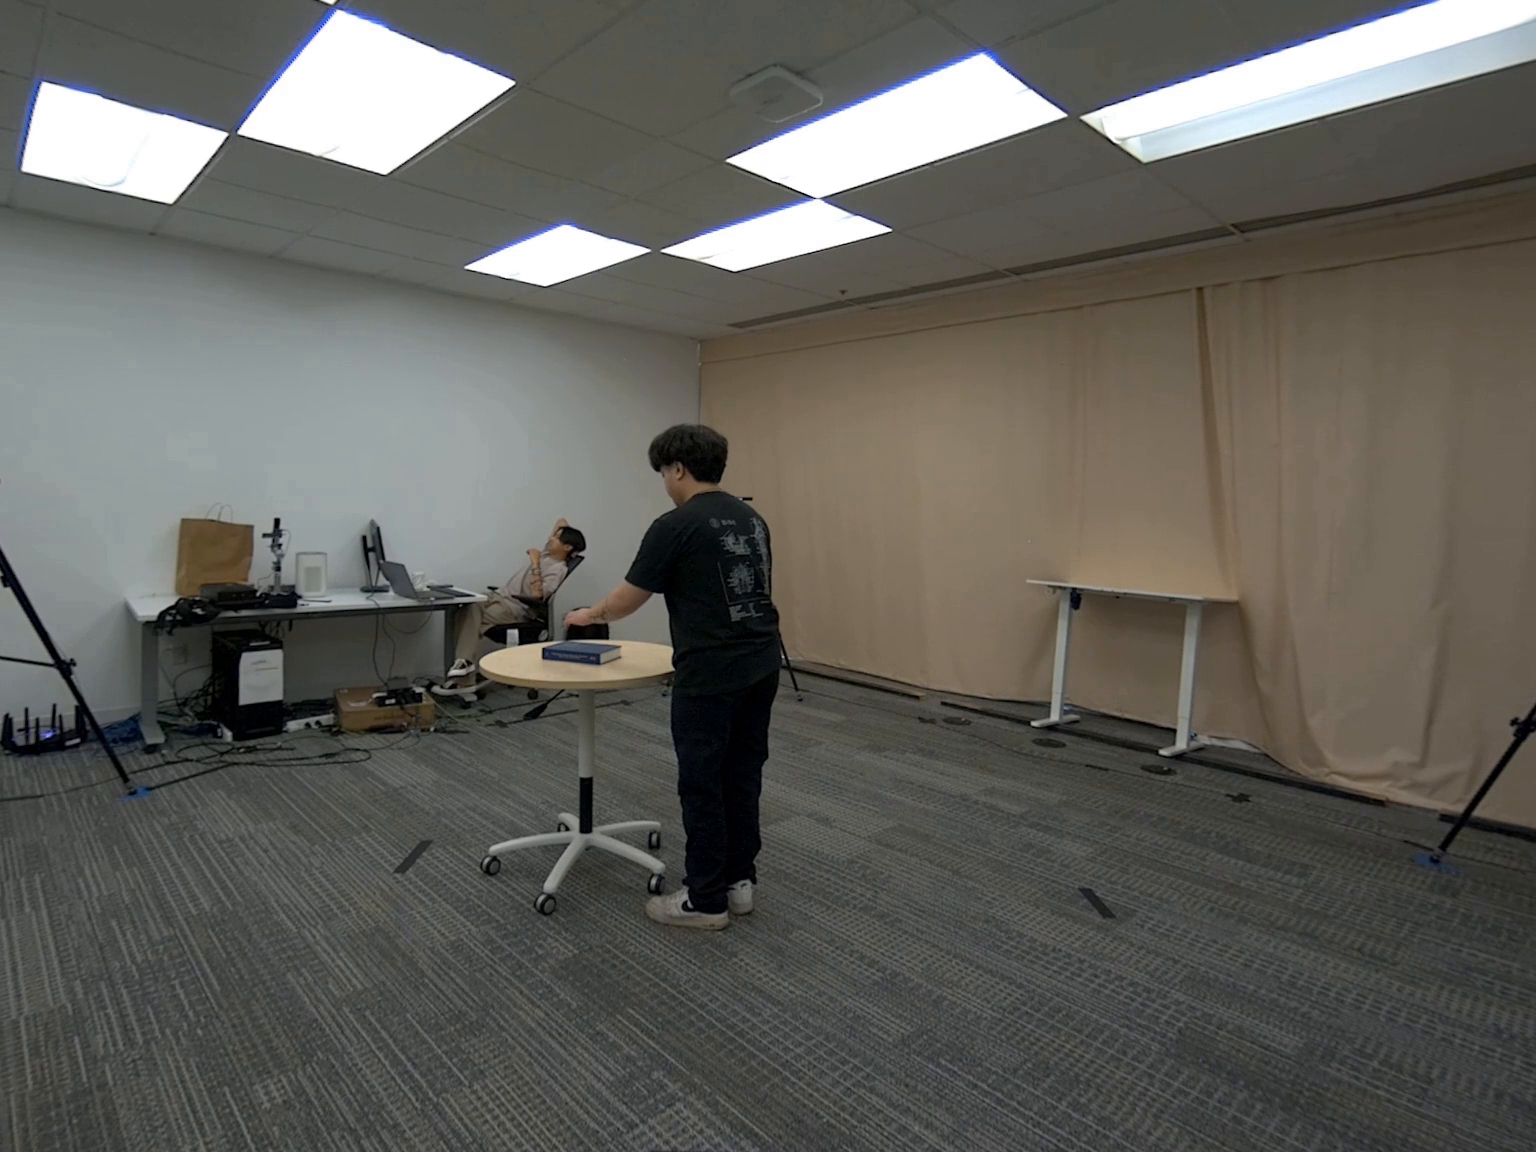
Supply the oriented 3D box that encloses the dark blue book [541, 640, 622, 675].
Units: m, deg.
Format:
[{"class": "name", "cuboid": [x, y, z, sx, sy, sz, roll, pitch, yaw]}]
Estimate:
[{"class": "dark blue book", "cuboid": [-0.695, 0.284, 3.094, 0.249, 0.045, 0.161, 3, 5, 20]}]
